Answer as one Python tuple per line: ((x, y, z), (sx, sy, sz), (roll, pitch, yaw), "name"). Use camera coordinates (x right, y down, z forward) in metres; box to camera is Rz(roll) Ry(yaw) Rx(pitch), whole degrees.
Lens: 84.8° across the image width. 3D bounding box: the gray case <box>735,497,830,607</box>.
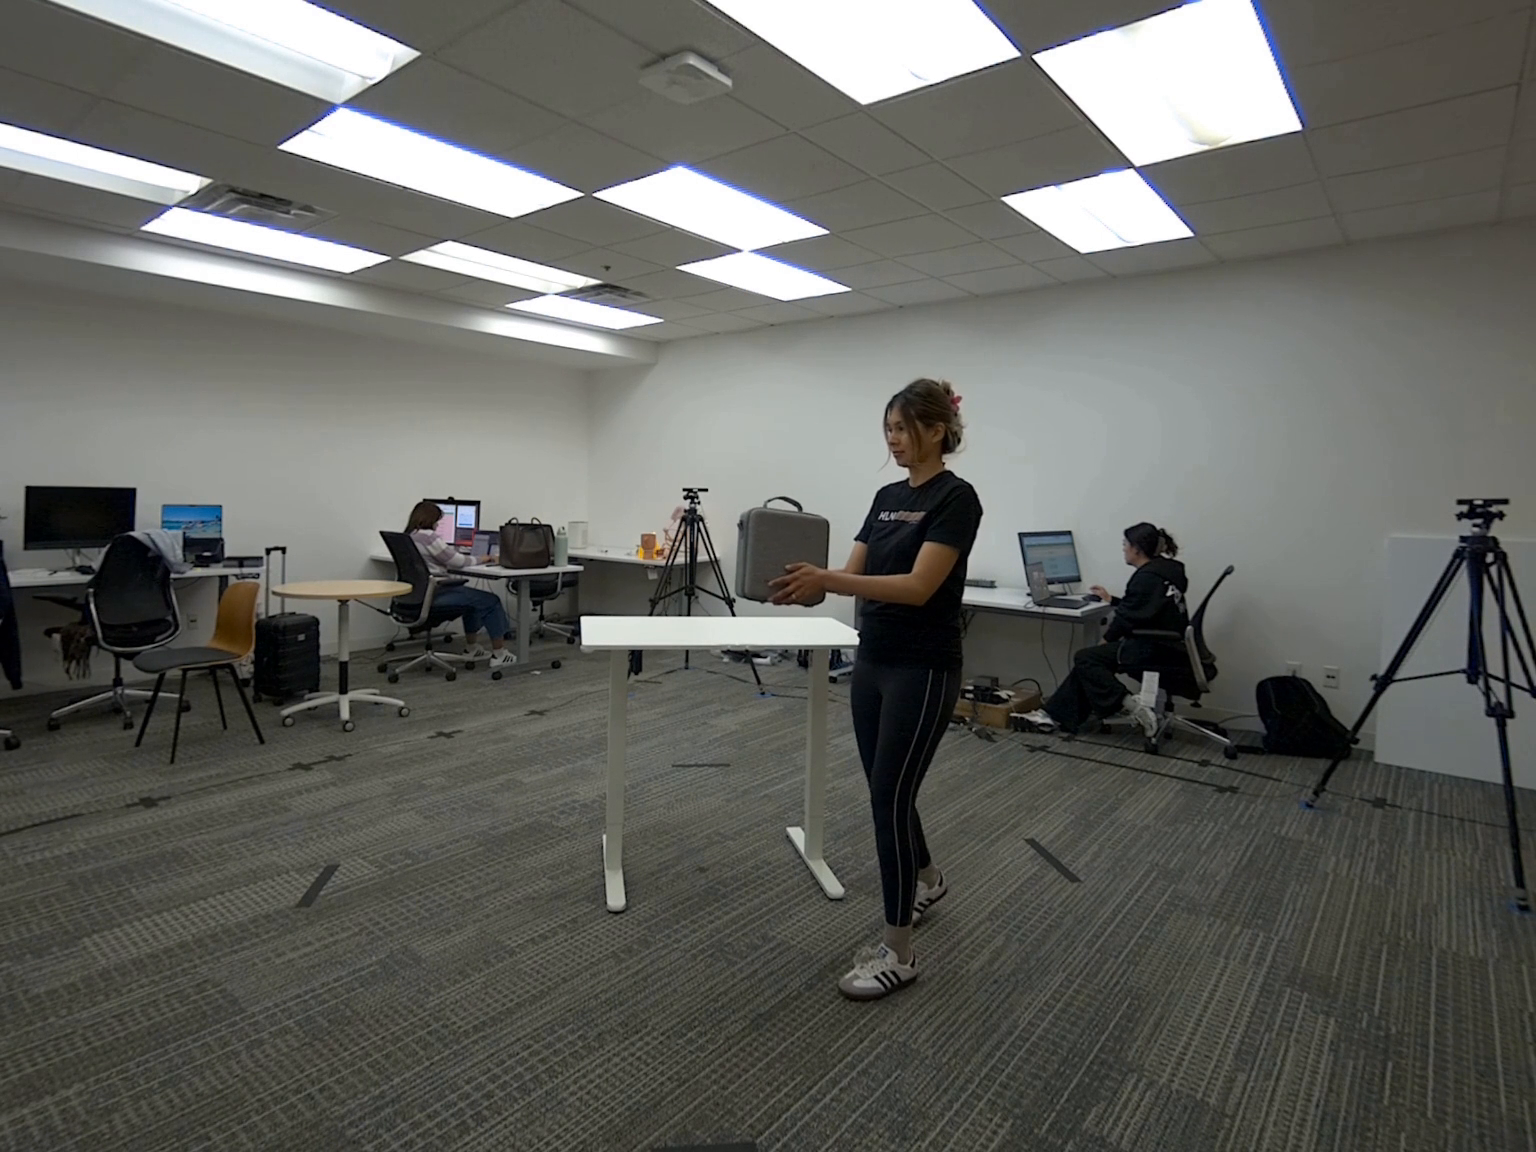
((0.032, -0.058, 2.371), (0.251, 0.262, 0.106), (7, -6, -21), "gray case")
